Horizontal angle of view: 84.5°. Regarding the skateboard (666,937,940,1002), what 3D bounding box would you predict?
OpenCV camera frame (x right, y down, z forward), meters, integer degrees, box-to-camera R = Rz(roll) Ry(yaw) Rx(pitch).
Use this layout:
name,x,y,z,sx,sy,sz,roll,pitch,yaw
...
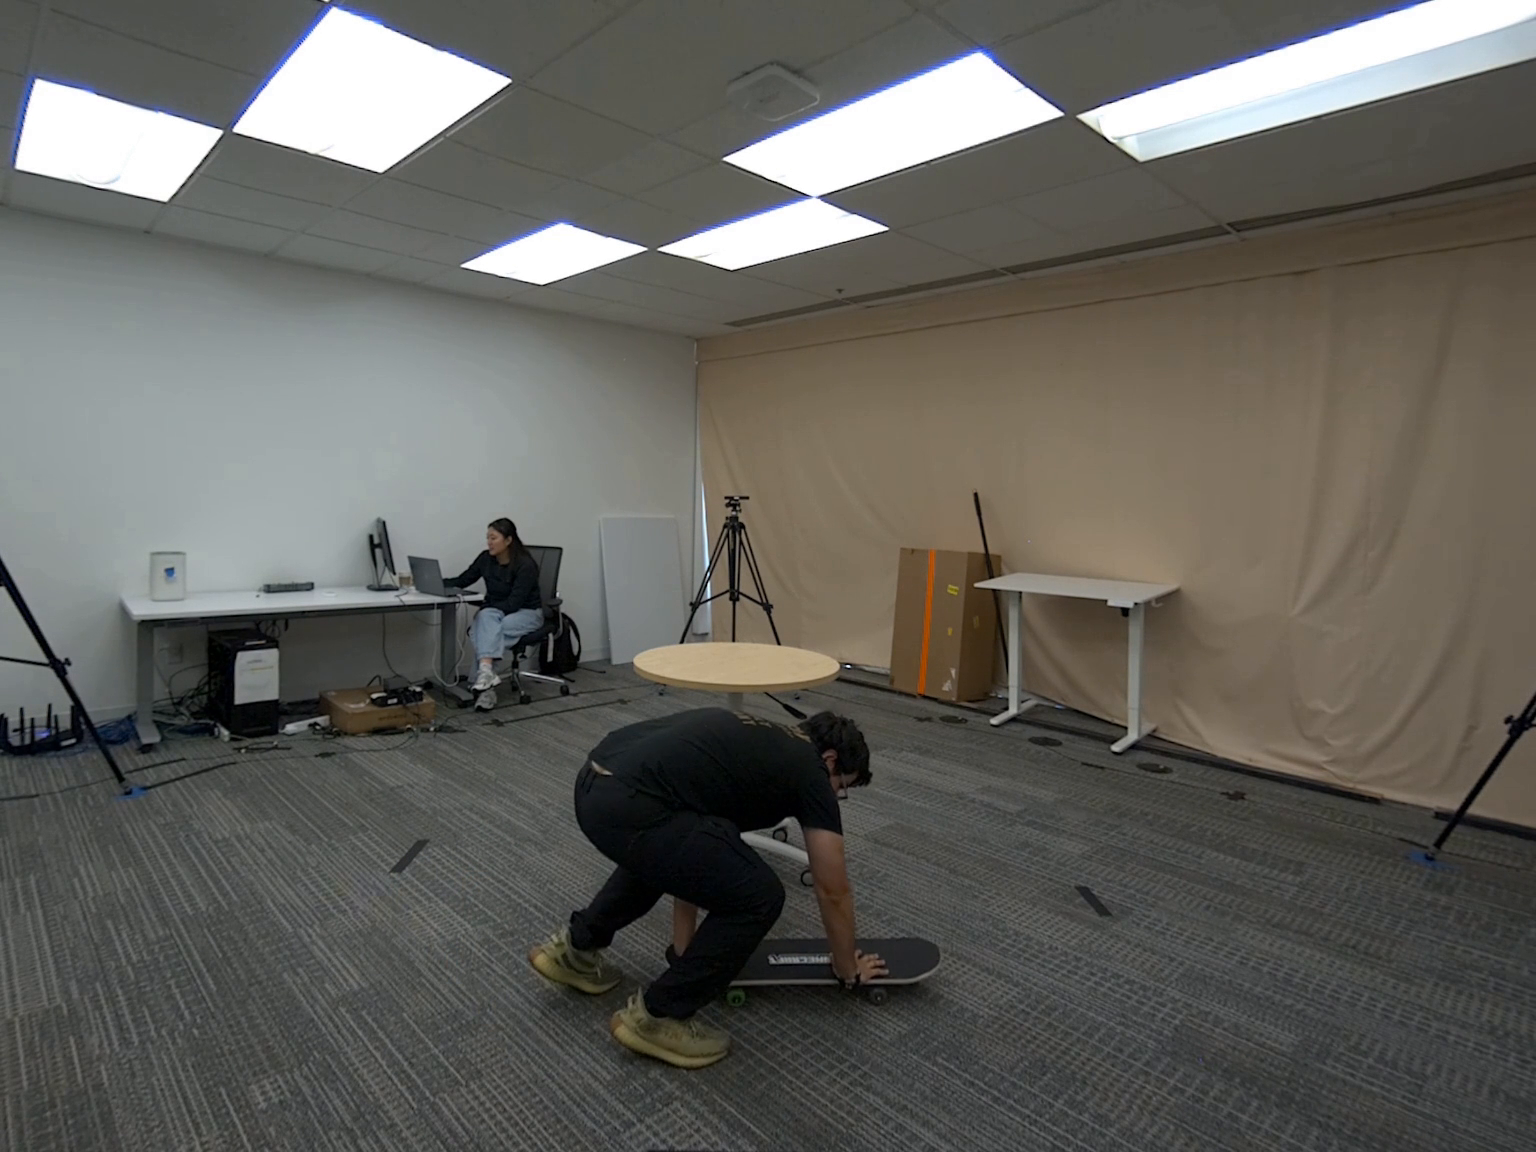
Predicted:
name,x,y,z,sx,sy,sz,roll,pitch,yaw
skateboard,0.096,1.121,2.393,0.782,0.110,0.195,0,8,-4
